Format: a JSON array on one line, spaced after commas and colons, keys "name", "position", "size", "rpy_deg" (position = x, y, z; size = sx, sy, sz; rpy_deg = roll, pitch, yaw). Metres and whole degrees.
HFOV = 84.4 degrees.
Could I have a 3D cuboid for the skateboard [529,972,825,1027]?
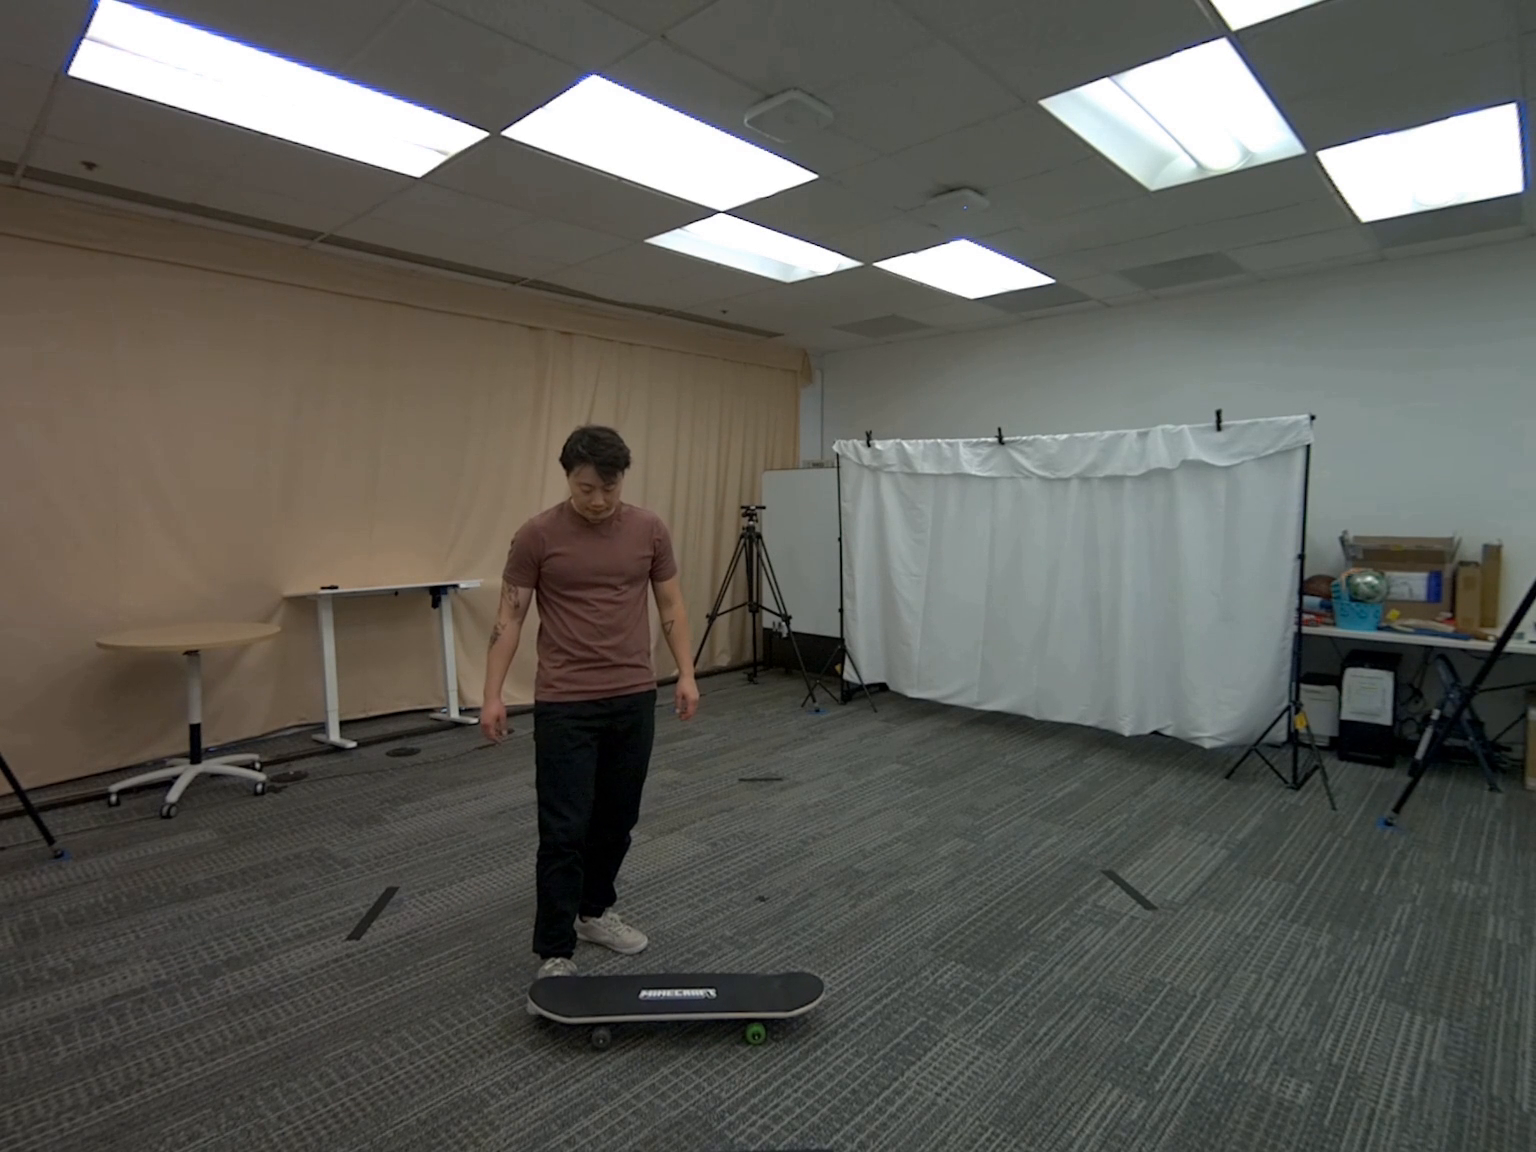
[{"name": "skateboard", "position": [-0.233, 1.147, 2.236], "size": [0.782, 0.110, 0.194], "rpy_deg": [0, 2, -3]}]
